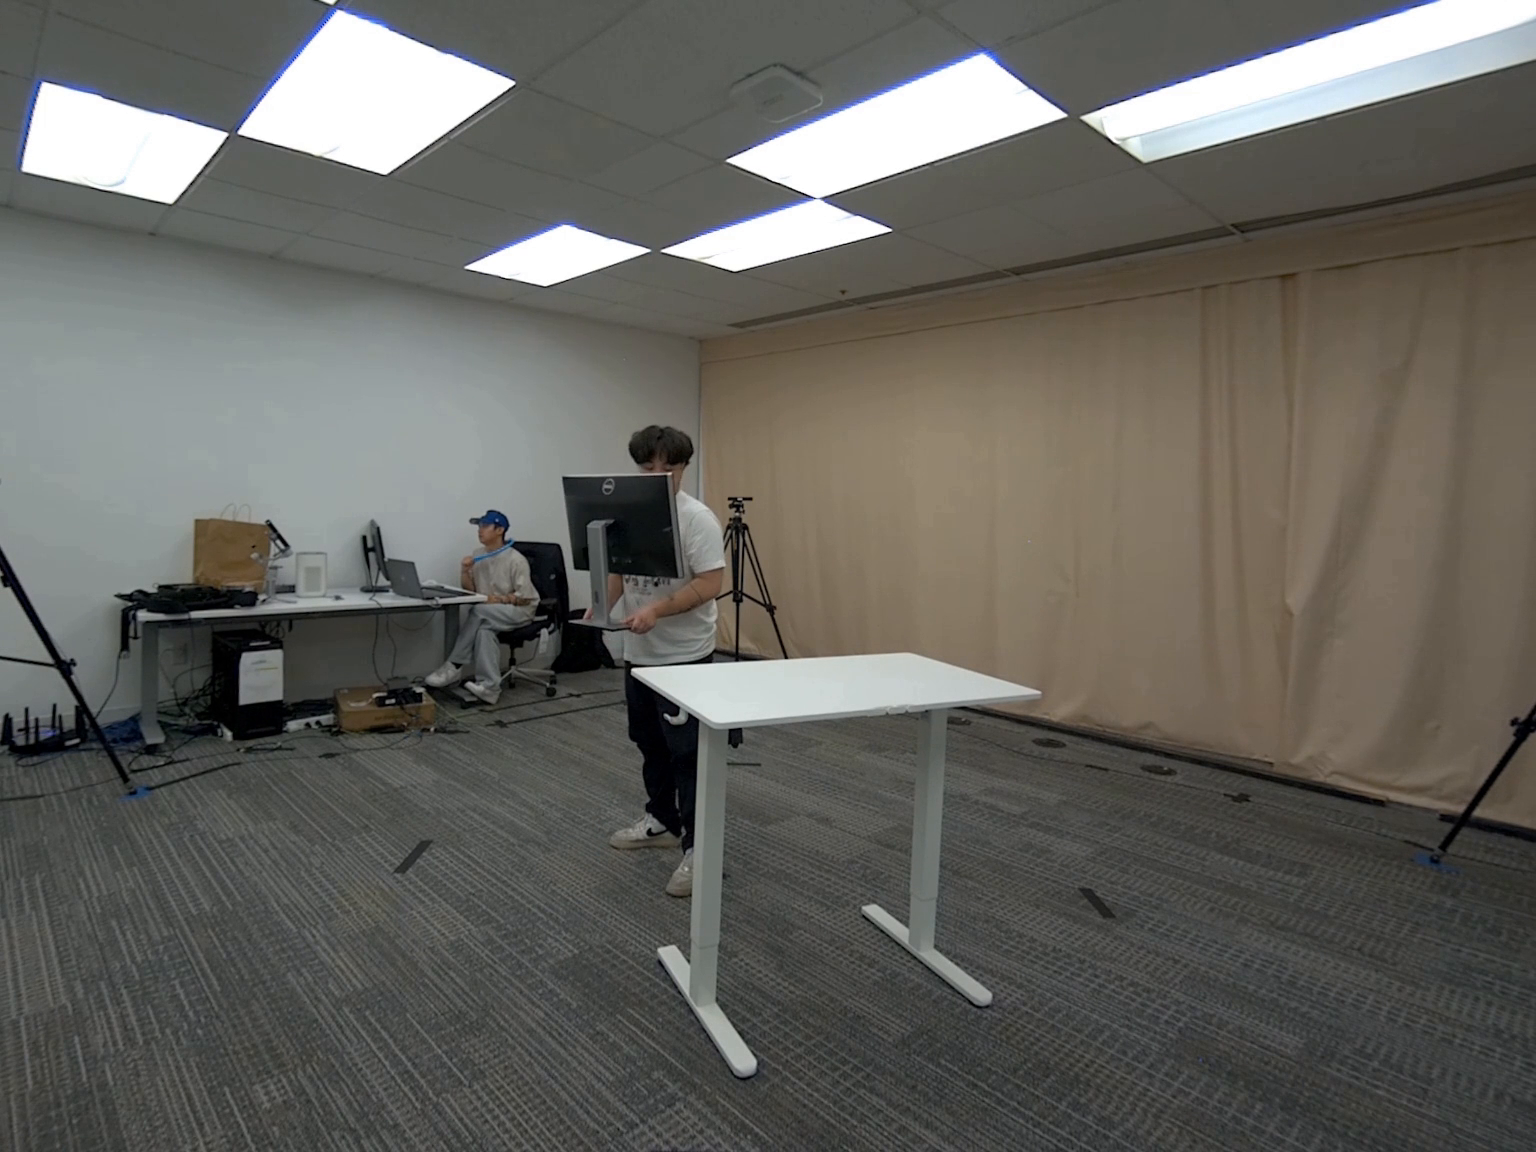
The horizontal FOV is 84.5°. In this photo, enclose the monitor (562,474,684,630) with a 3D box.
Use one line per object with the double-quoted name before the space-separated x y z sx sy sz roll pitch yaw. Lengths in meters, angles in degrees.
"monitor" -0.573 -0.088 2.966 0.579 0.551 0.206 5 9 39
